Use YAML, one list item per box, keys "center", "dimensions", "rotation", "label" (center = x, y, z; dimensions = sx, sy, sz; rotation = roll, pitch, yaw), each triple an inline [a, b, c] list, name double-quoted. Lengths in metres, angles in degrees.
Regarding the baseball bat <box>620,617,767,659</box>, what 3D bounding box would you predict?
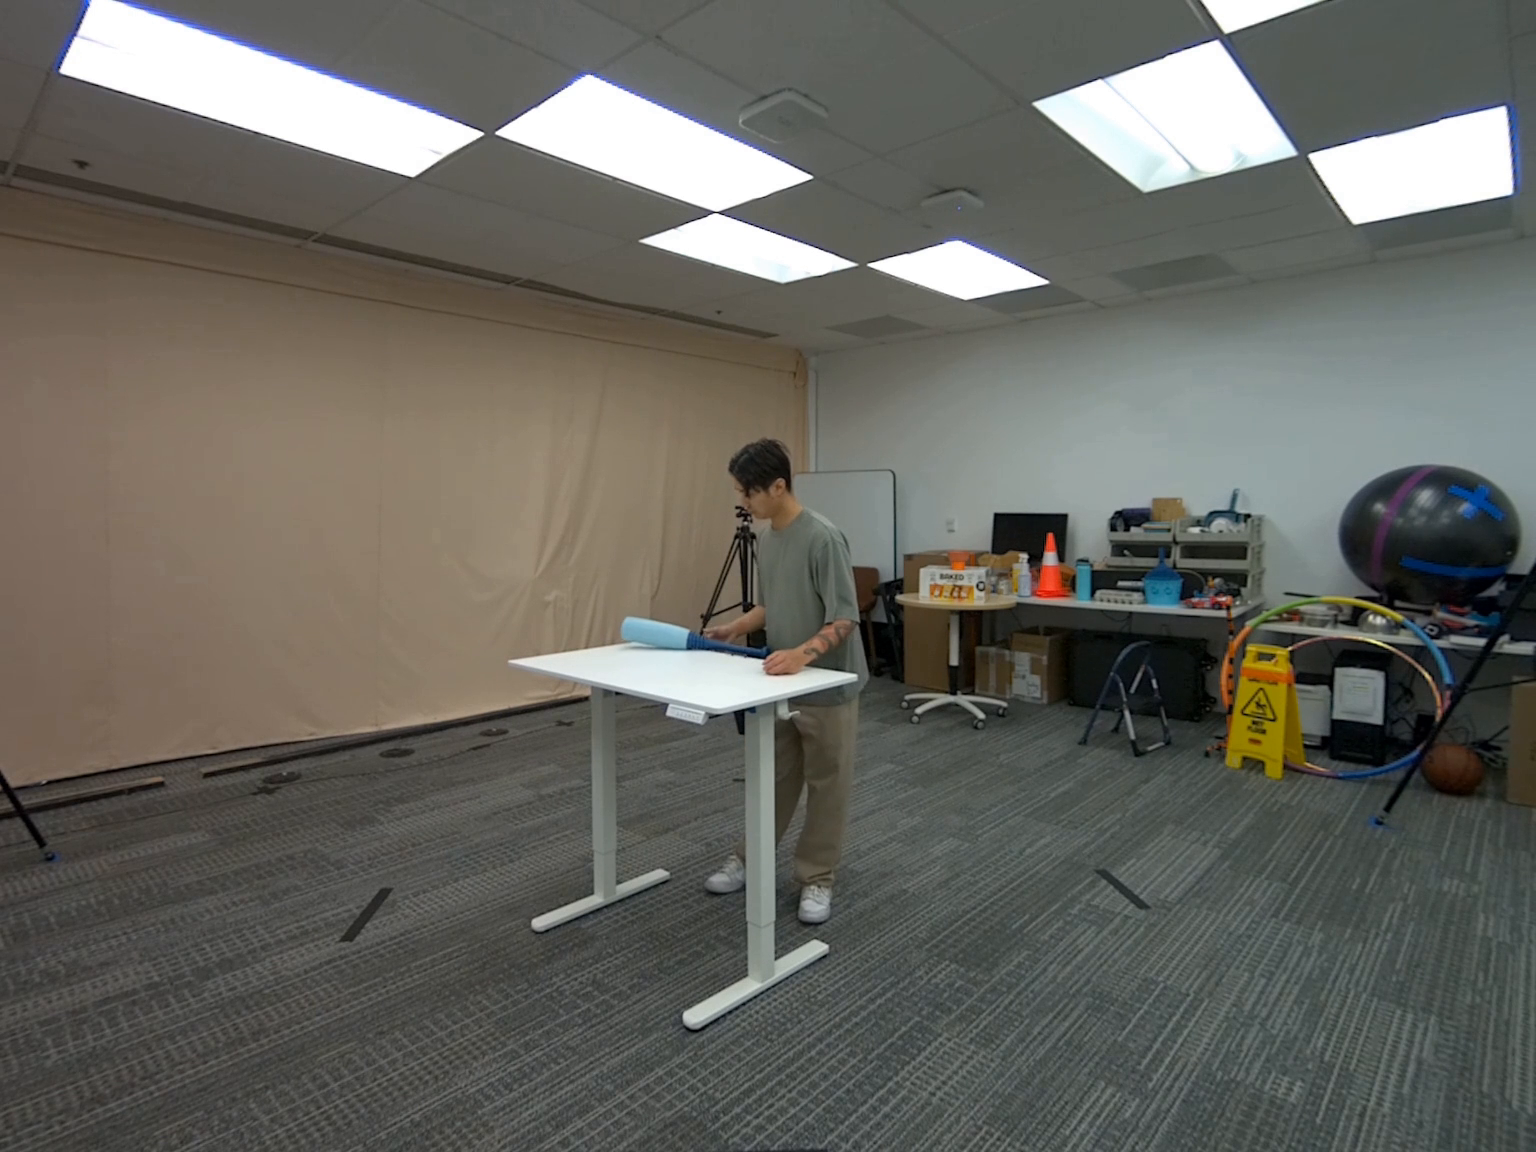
- center: [-0.257, 0.236, 3.018]
  dimensions: [0.550, 0.089, 0.088]
  rotation: [9, 5, 12]
  label: "baseball bat"
